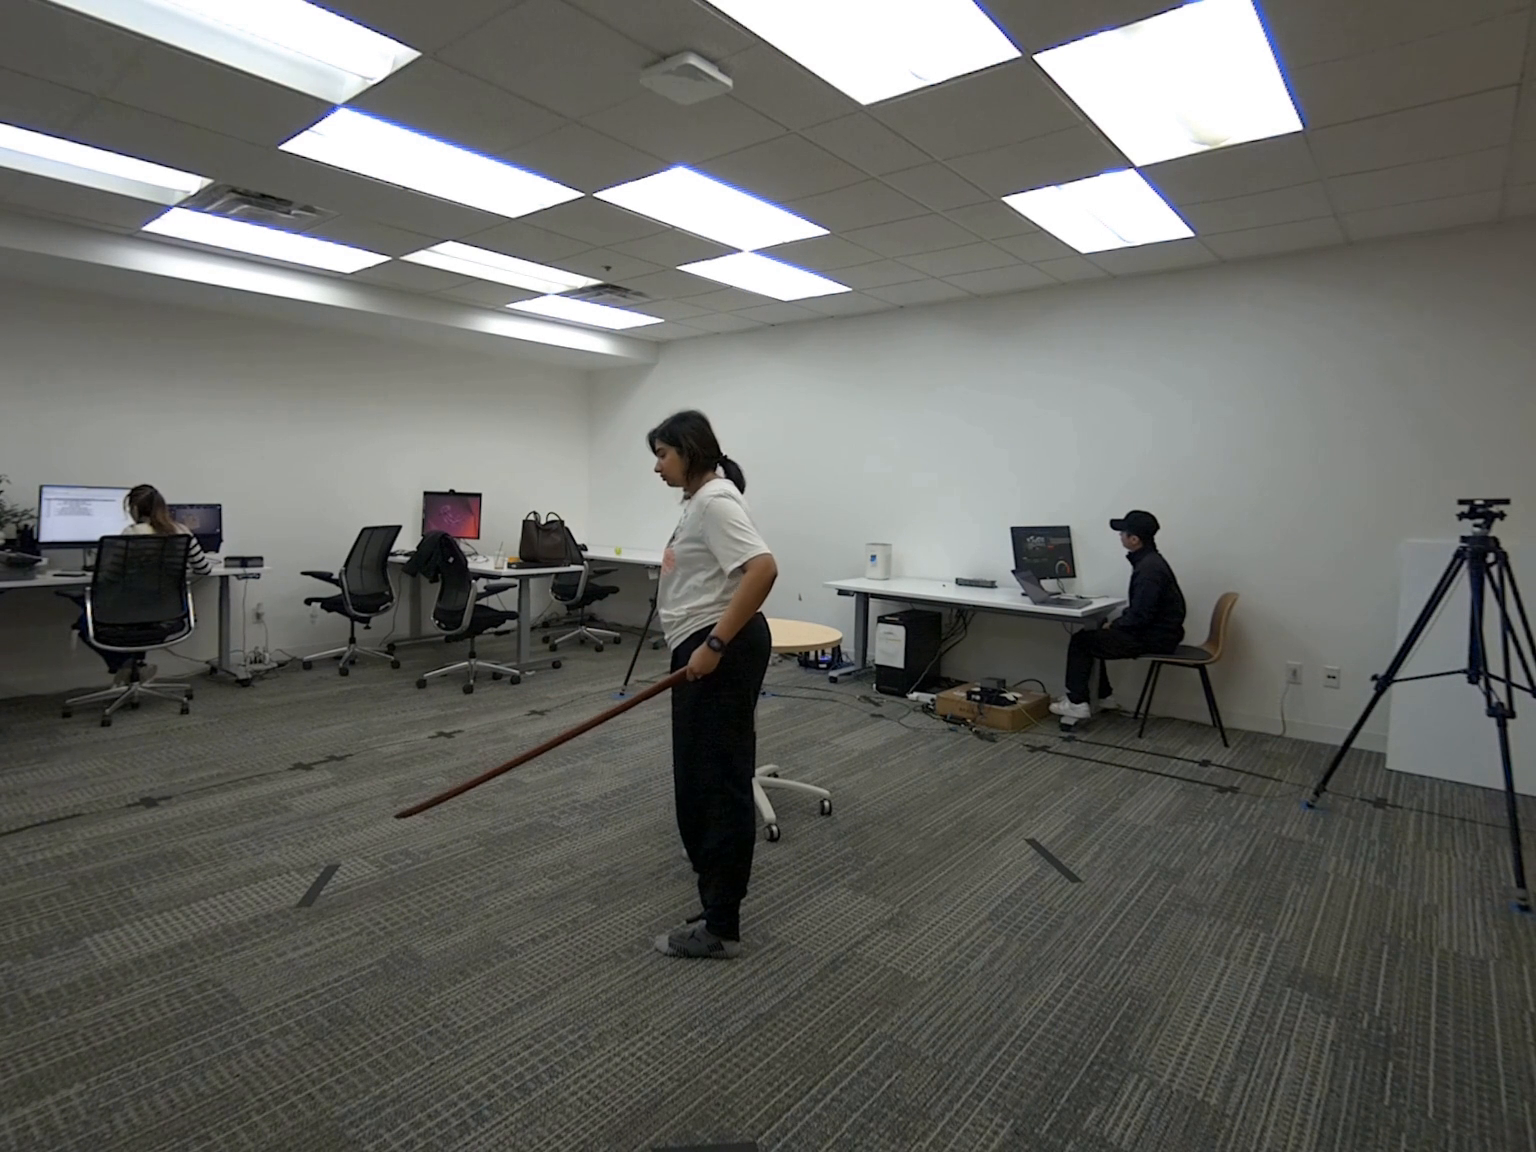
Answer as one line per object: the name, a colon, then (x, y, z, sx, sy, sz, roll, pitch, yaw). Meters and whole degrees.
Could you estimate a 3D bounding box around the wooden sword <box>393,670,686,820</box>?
wooden sword: (-0.616, 0.459, 2.448, 1.021, 0.024, 0.051, -28, -2, -7)
